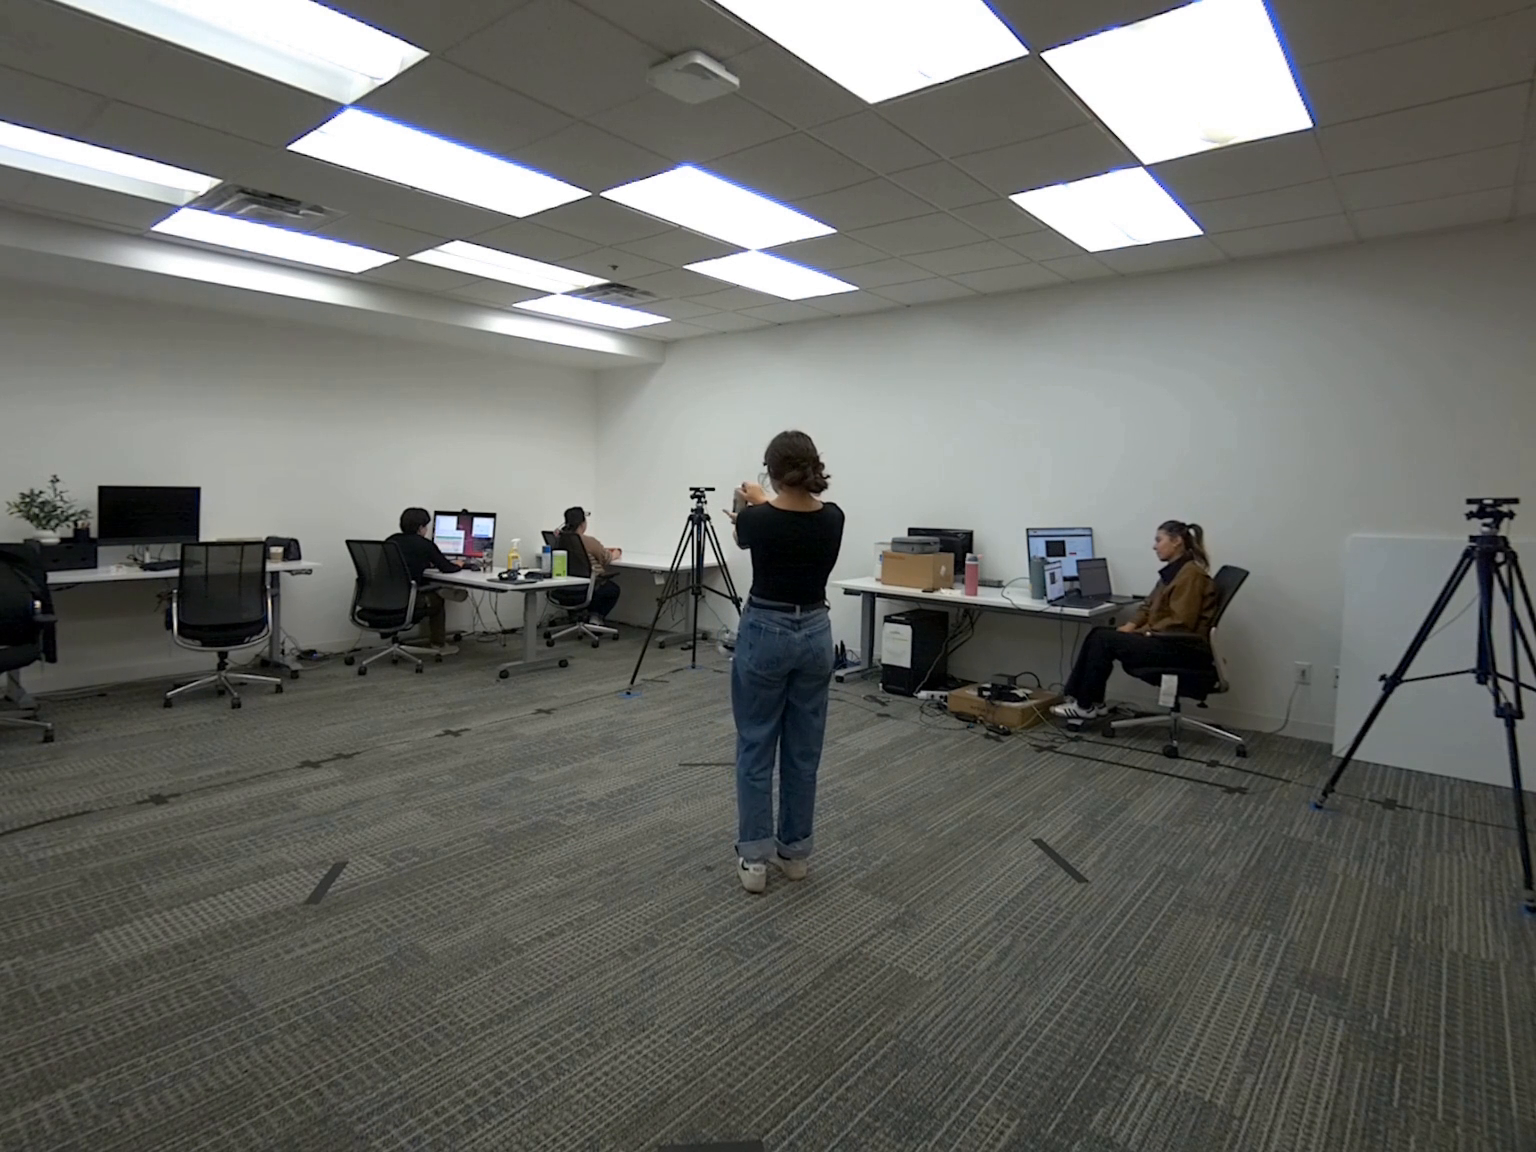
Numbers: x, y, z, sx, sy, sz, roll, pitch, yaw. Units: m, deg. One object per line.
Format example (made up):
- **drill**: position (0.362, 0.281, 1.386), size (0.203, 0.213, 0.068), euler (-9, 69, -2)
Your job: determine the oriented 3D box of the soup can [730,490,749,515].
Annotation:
- **soup can**: position (-0.124, -0.318, 3.574), size (0.067, 0.121, 0.068), euler (3, 7, -2)
